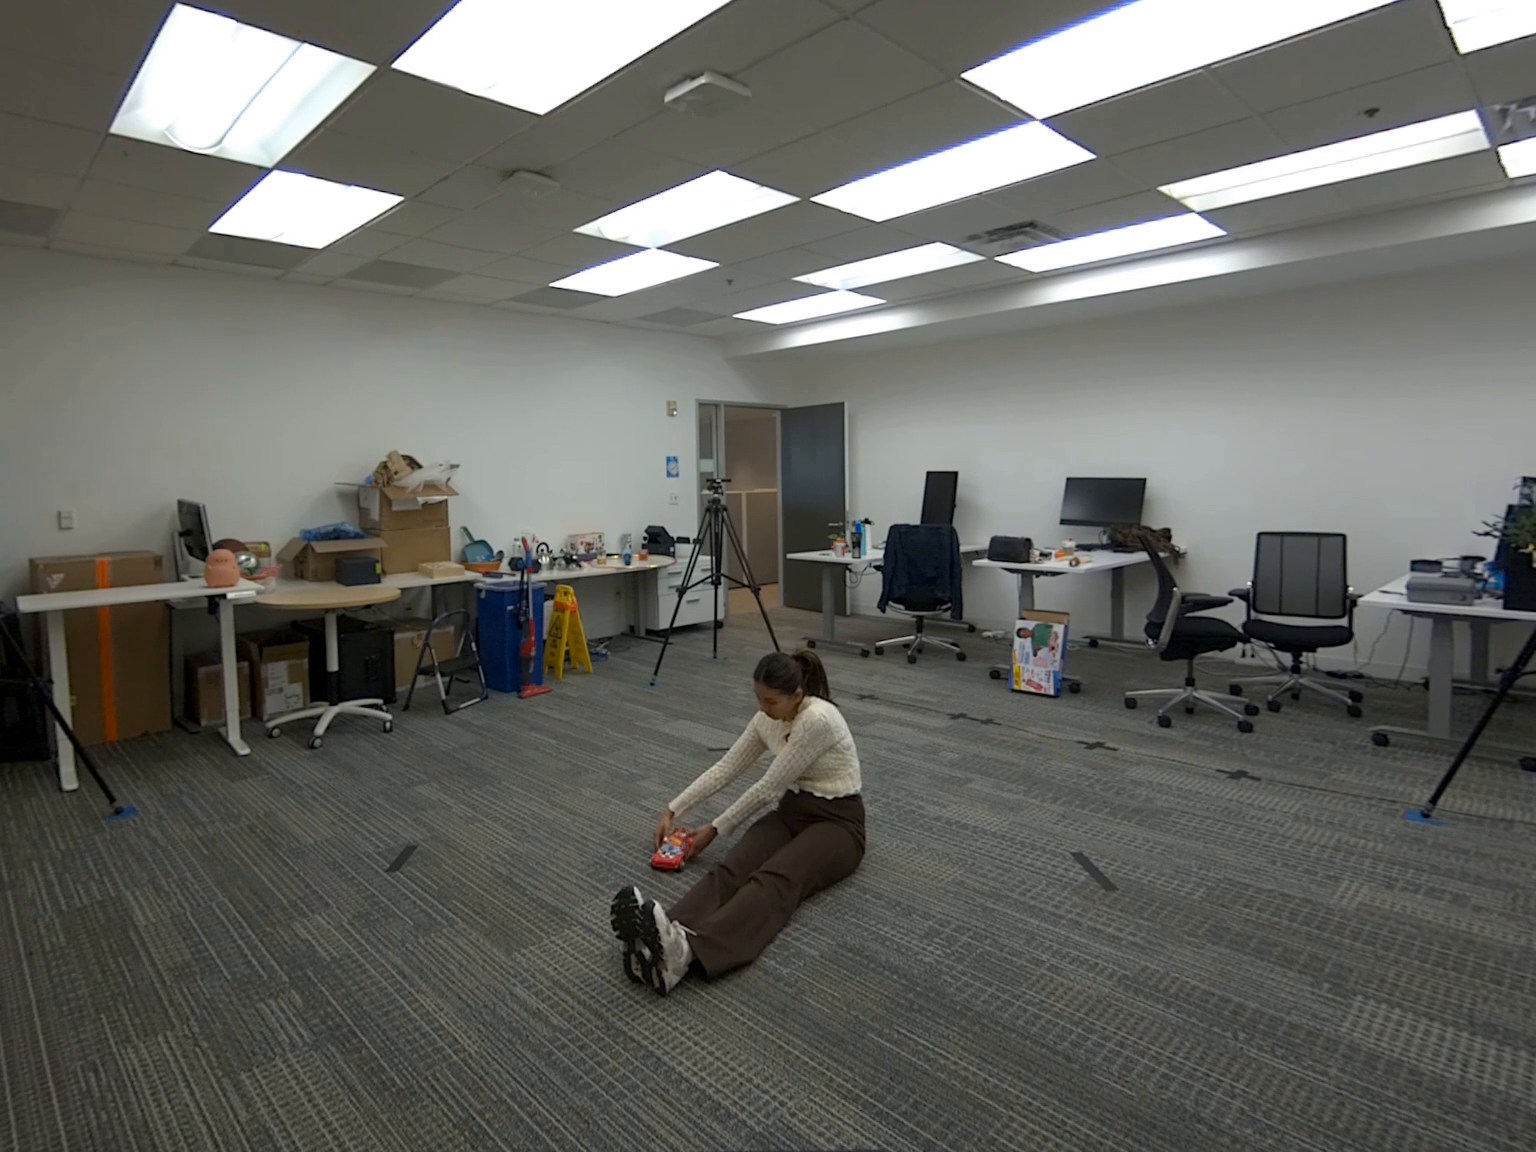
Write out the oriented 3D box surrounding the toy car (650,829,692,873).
[{"bbox_3d":[-0.334,1.011,3.153,0.132,0.082,0.254,0,16,14],"label":"toy car"}]
